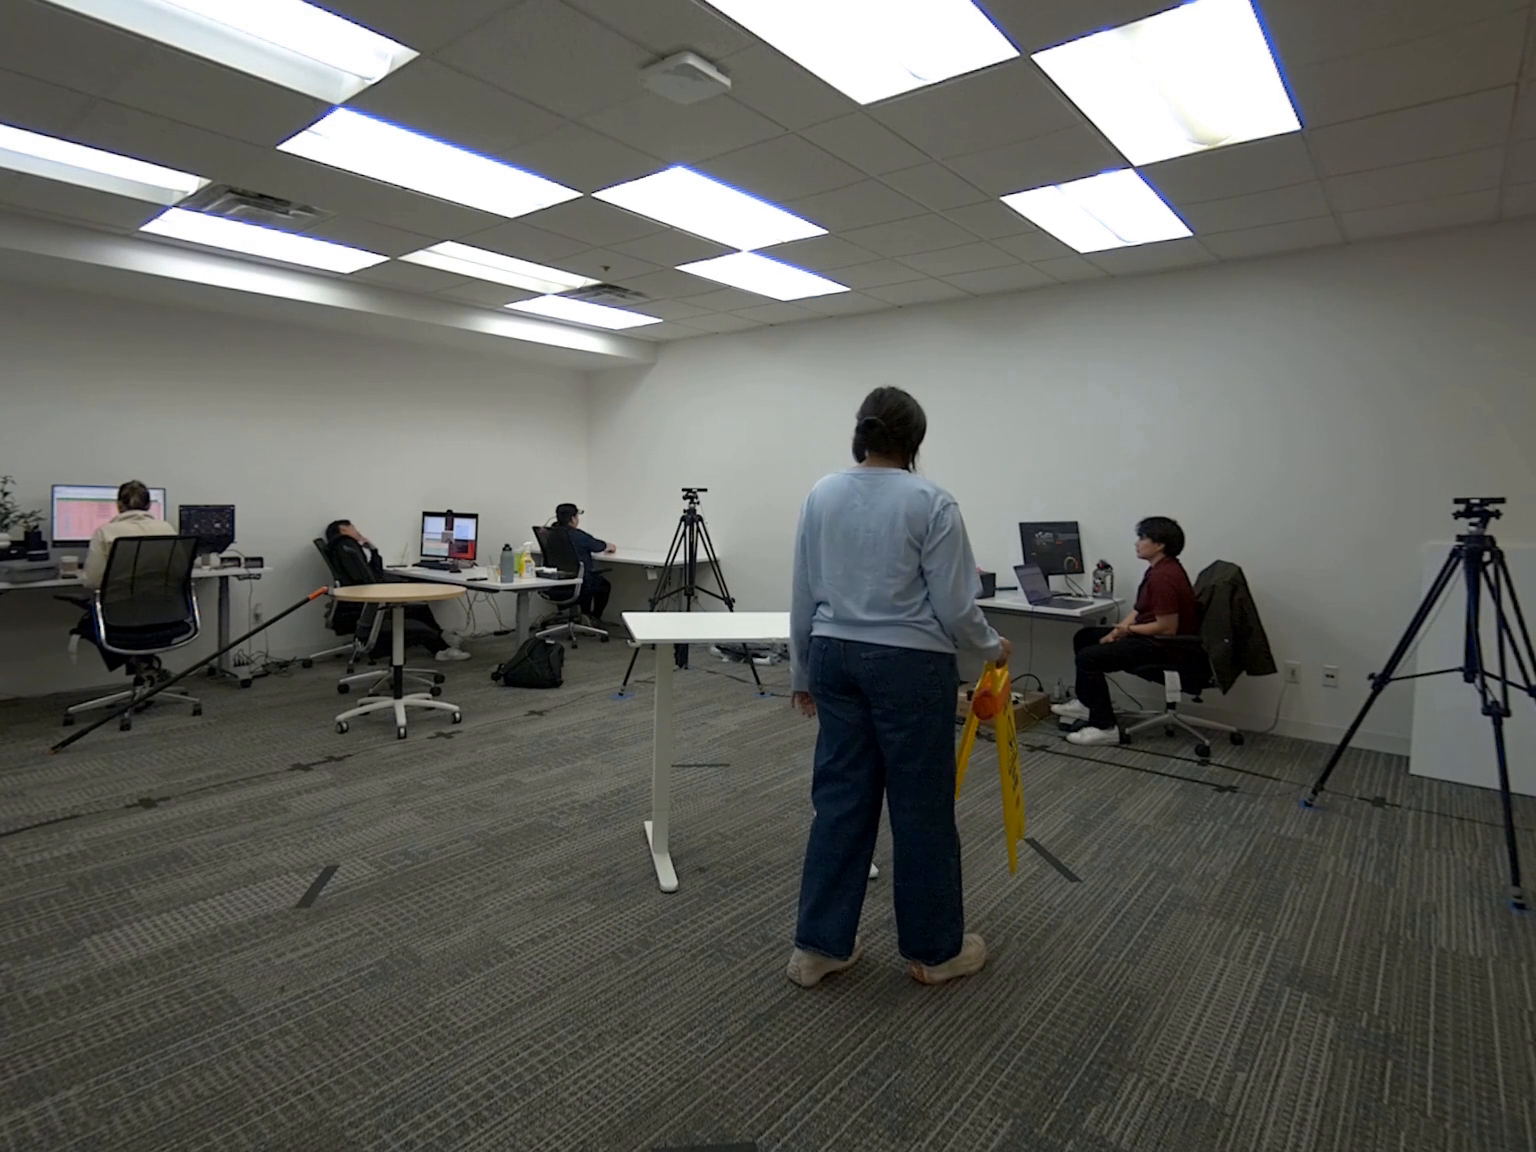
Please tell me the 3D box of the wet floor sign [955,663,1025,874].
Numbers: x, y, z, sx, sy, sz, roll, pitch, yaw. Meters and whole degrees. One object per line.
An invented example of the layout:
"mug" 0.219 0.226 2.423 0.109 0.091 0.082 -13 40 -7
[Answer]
"wet floor sign" 0.668 0.521 2.609 0.298 0.638 0.278 8 15 25
